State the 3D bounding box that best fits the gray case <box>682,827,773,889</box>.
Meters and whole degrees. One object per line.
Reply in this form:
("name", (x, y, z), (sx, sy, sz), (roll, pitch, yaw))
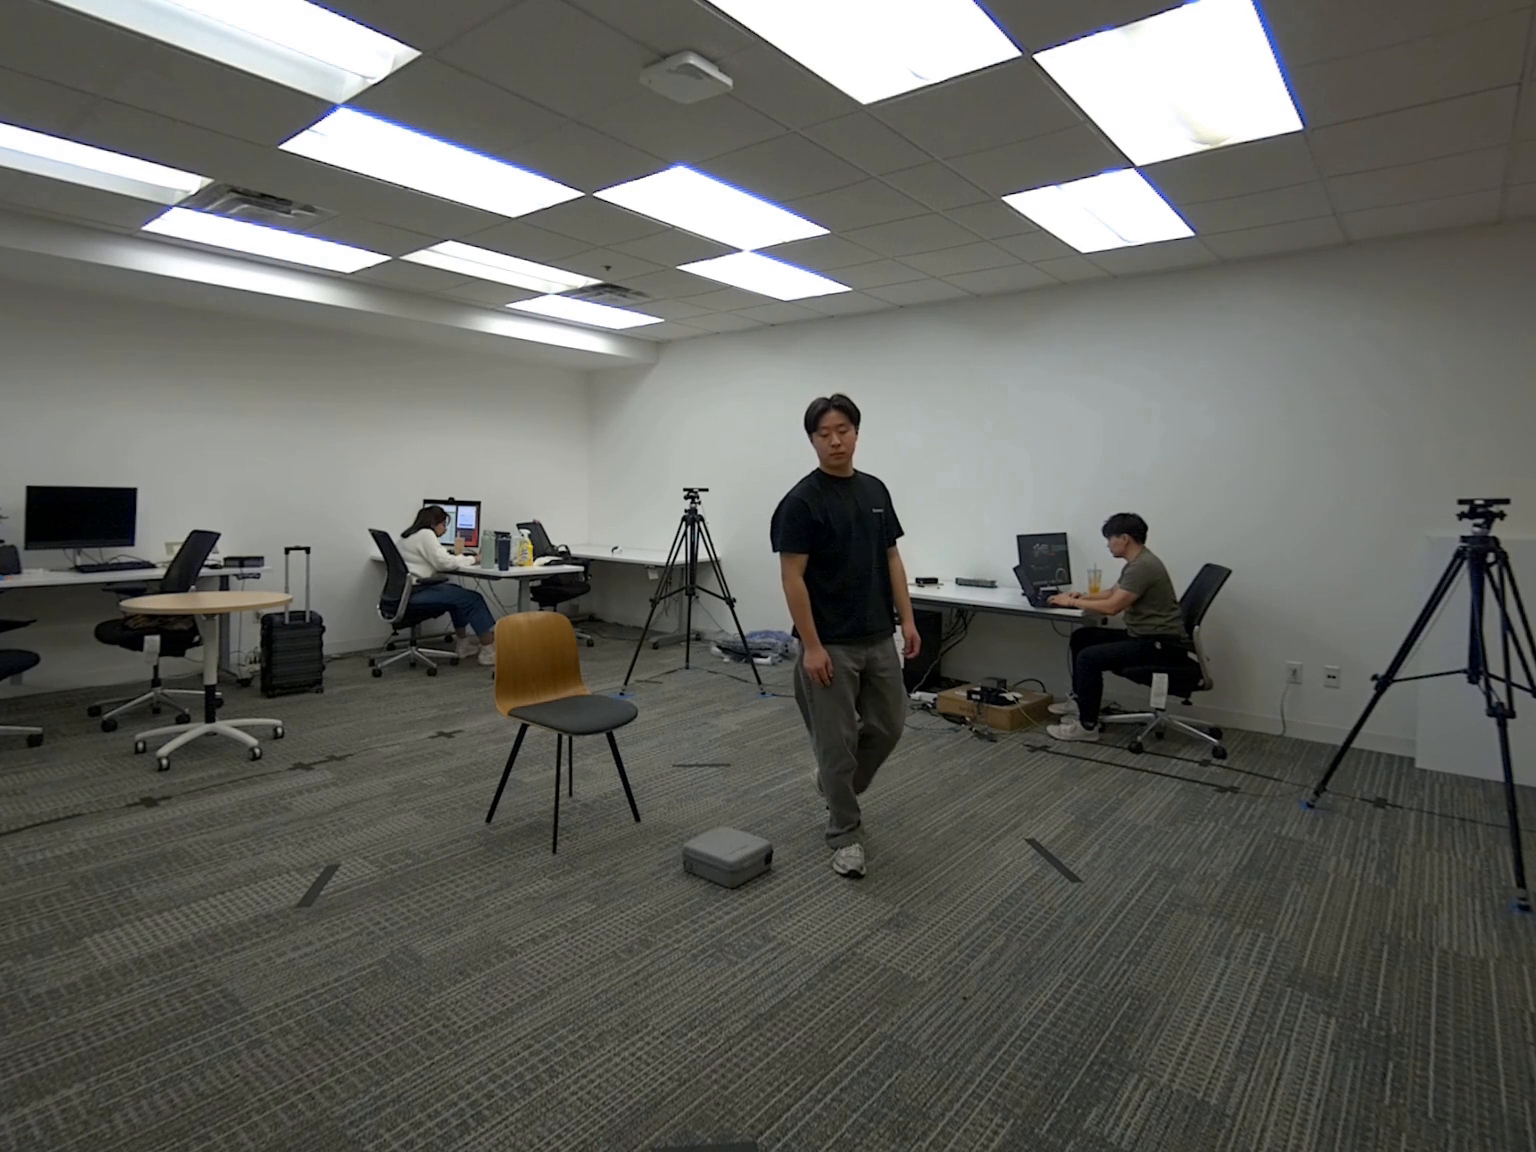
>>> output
("gray case", (-0.168, 1.015, 3.110), (0.296, 0.103, 0.255), (4, 6, 39))
